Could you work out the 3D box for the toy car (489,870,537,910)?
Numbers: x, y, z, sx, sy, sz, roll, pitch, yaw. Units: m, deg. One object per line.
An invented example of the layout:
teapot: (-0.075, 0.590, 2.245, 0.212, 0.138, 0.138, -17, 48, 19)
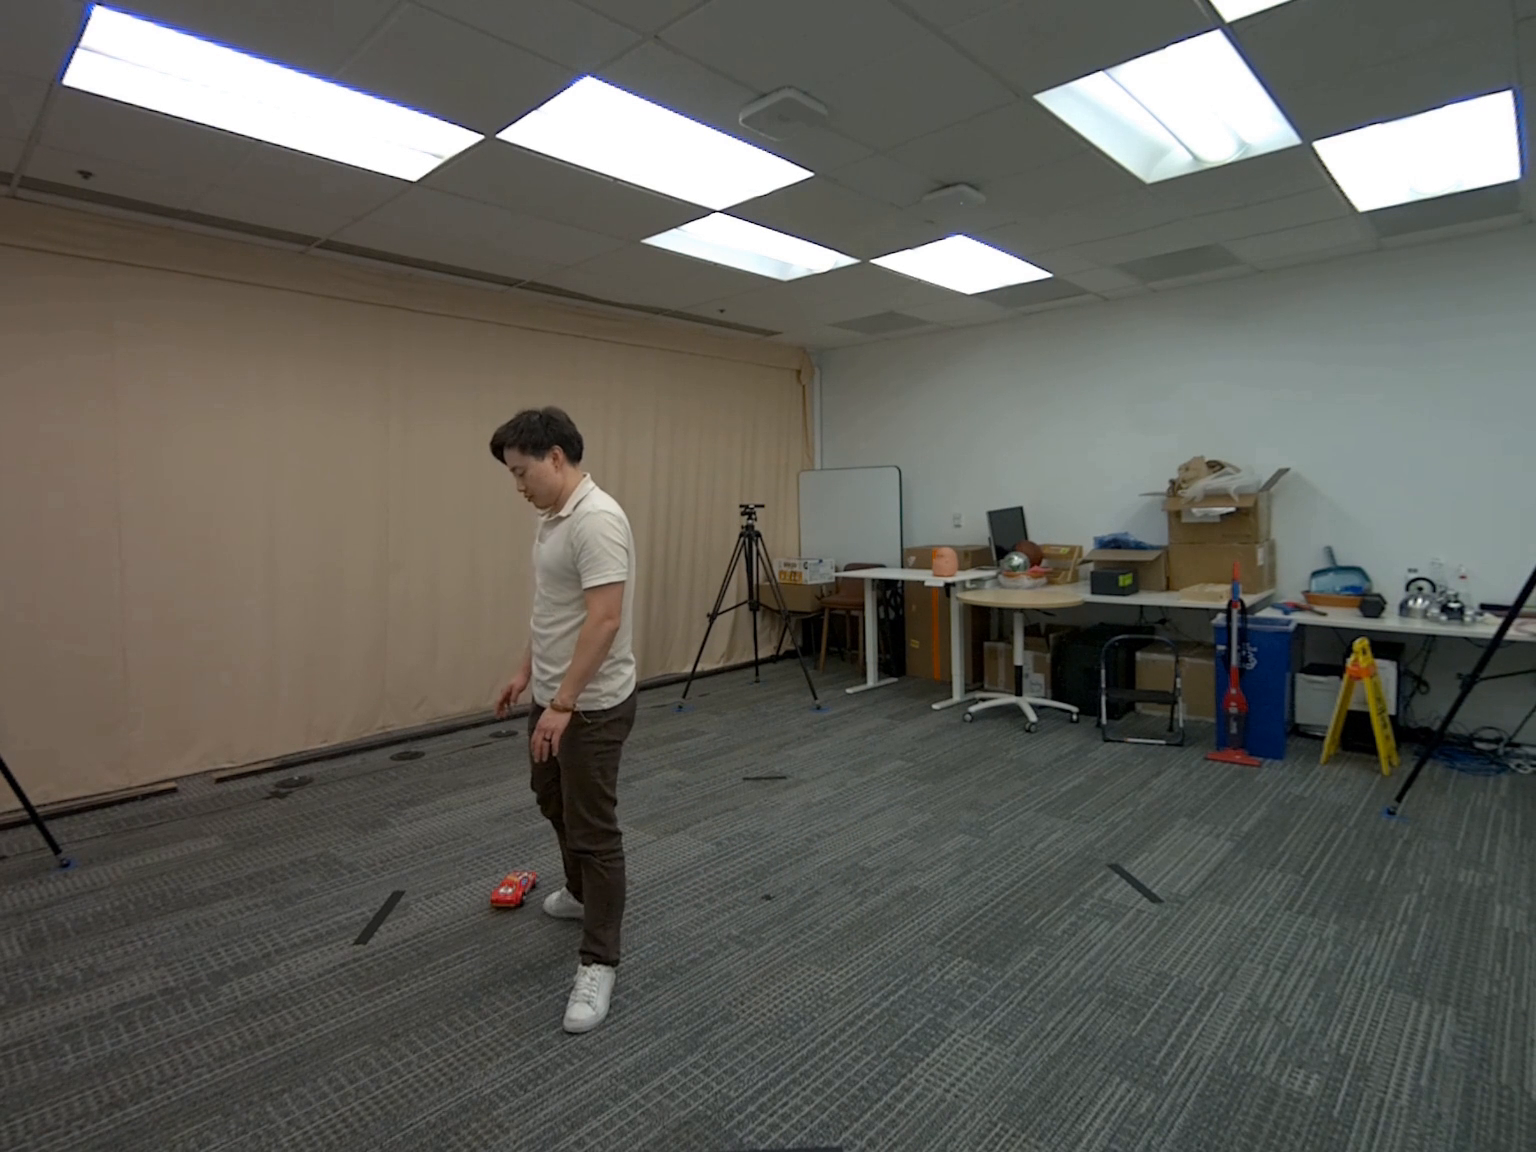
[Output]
toy car: (-0.919, 1.128, 3.011, 0.131, 0.083, 0.252, 0, -7, 4)
